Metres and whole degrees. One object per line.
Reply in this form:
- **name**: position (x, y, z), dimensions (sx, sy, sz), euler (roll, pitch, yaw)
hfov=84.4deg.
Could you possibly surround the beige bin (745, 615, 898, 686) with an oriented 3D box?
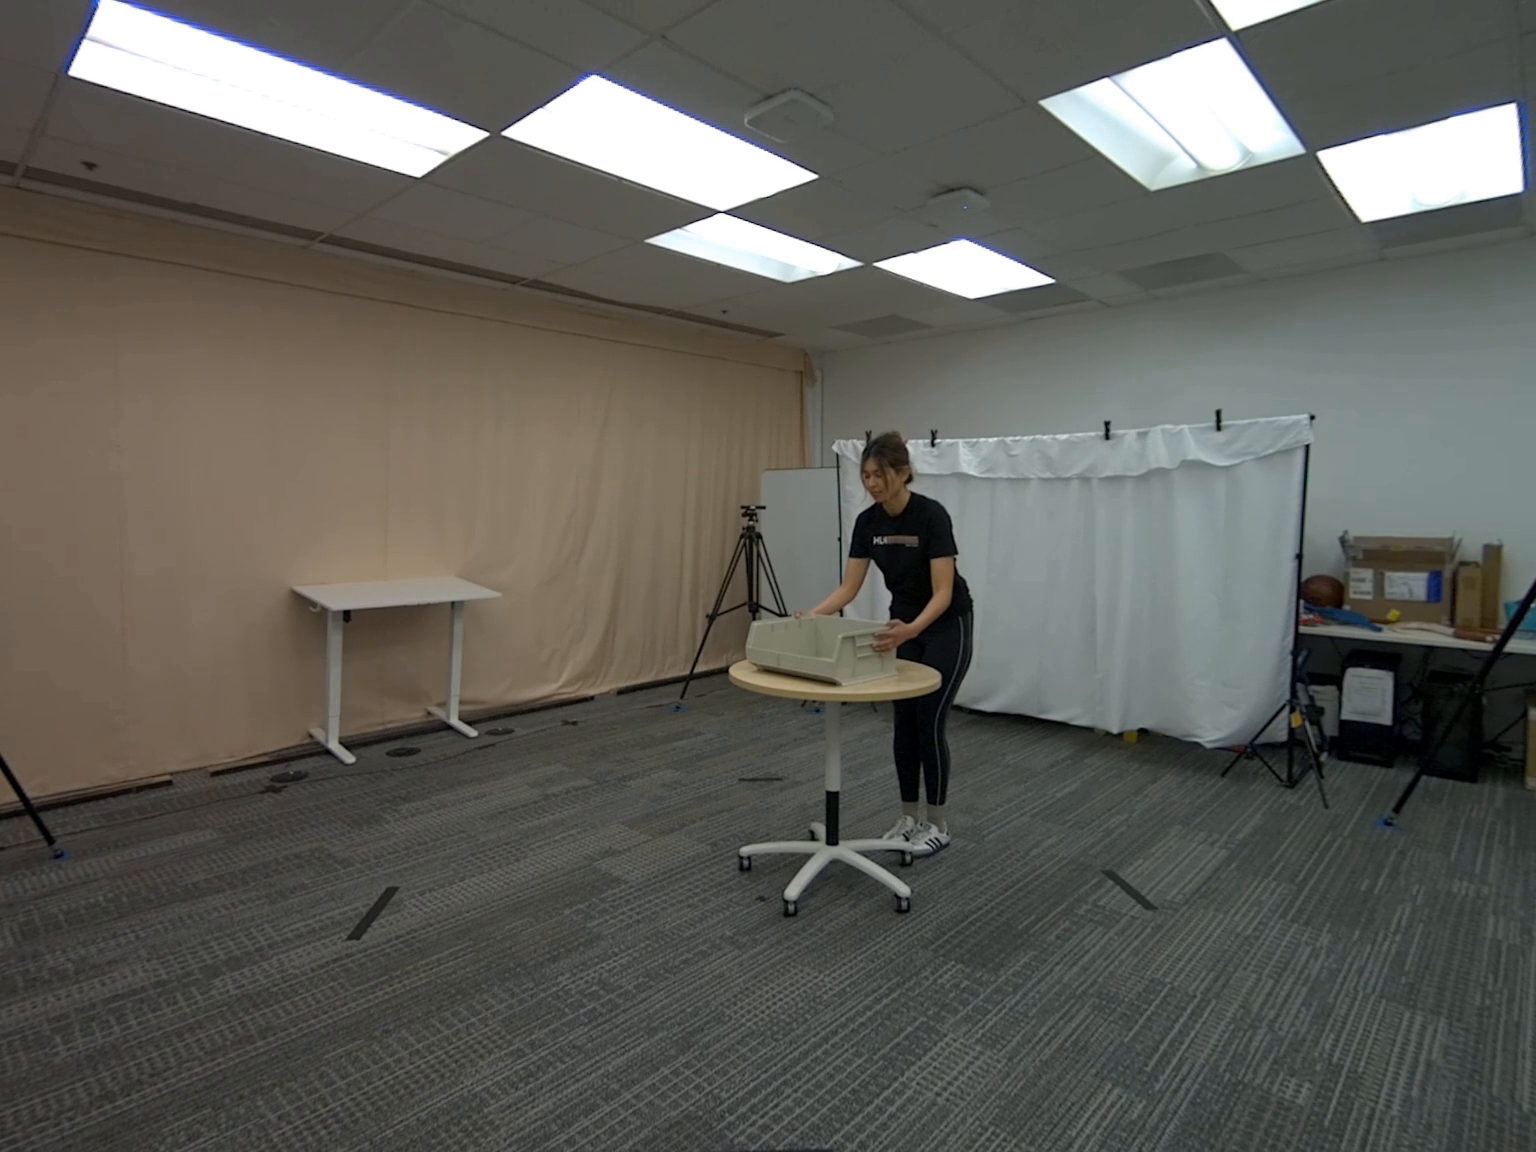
- **beige bin**: position (0.202, 0.263, 3.040), dimensions (0.365, 0.189, 0.436), euler (-2, 4, -45)
